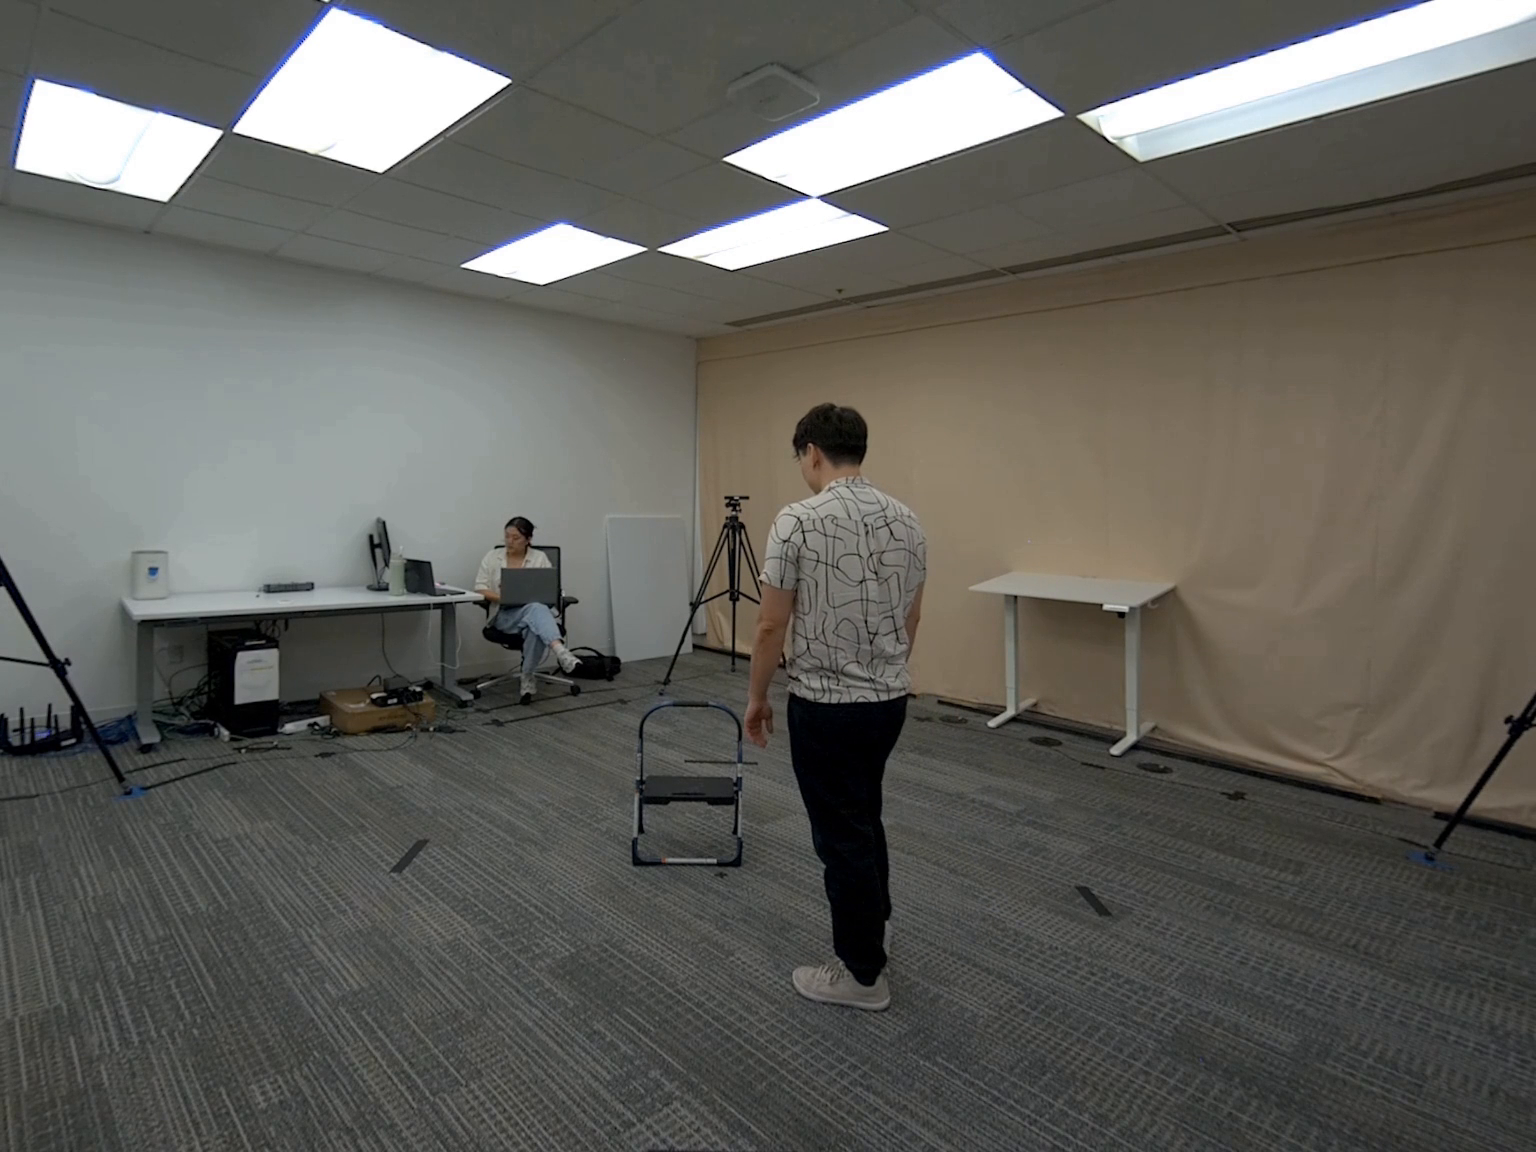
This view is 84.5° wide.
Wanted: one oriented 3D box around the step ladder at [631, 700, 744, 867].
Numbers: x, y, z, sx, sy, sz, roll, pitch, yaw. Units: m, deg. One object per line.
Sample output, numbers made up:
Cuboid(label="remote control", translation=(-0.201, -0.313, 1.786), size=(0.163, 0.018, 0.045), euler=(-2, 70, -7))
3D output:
Cuboid(label="step ladder", translation=(-0.317, 0.780, 3.320), size=(0.429, 0.605, 0.351), euler=(1, 3, -4))
